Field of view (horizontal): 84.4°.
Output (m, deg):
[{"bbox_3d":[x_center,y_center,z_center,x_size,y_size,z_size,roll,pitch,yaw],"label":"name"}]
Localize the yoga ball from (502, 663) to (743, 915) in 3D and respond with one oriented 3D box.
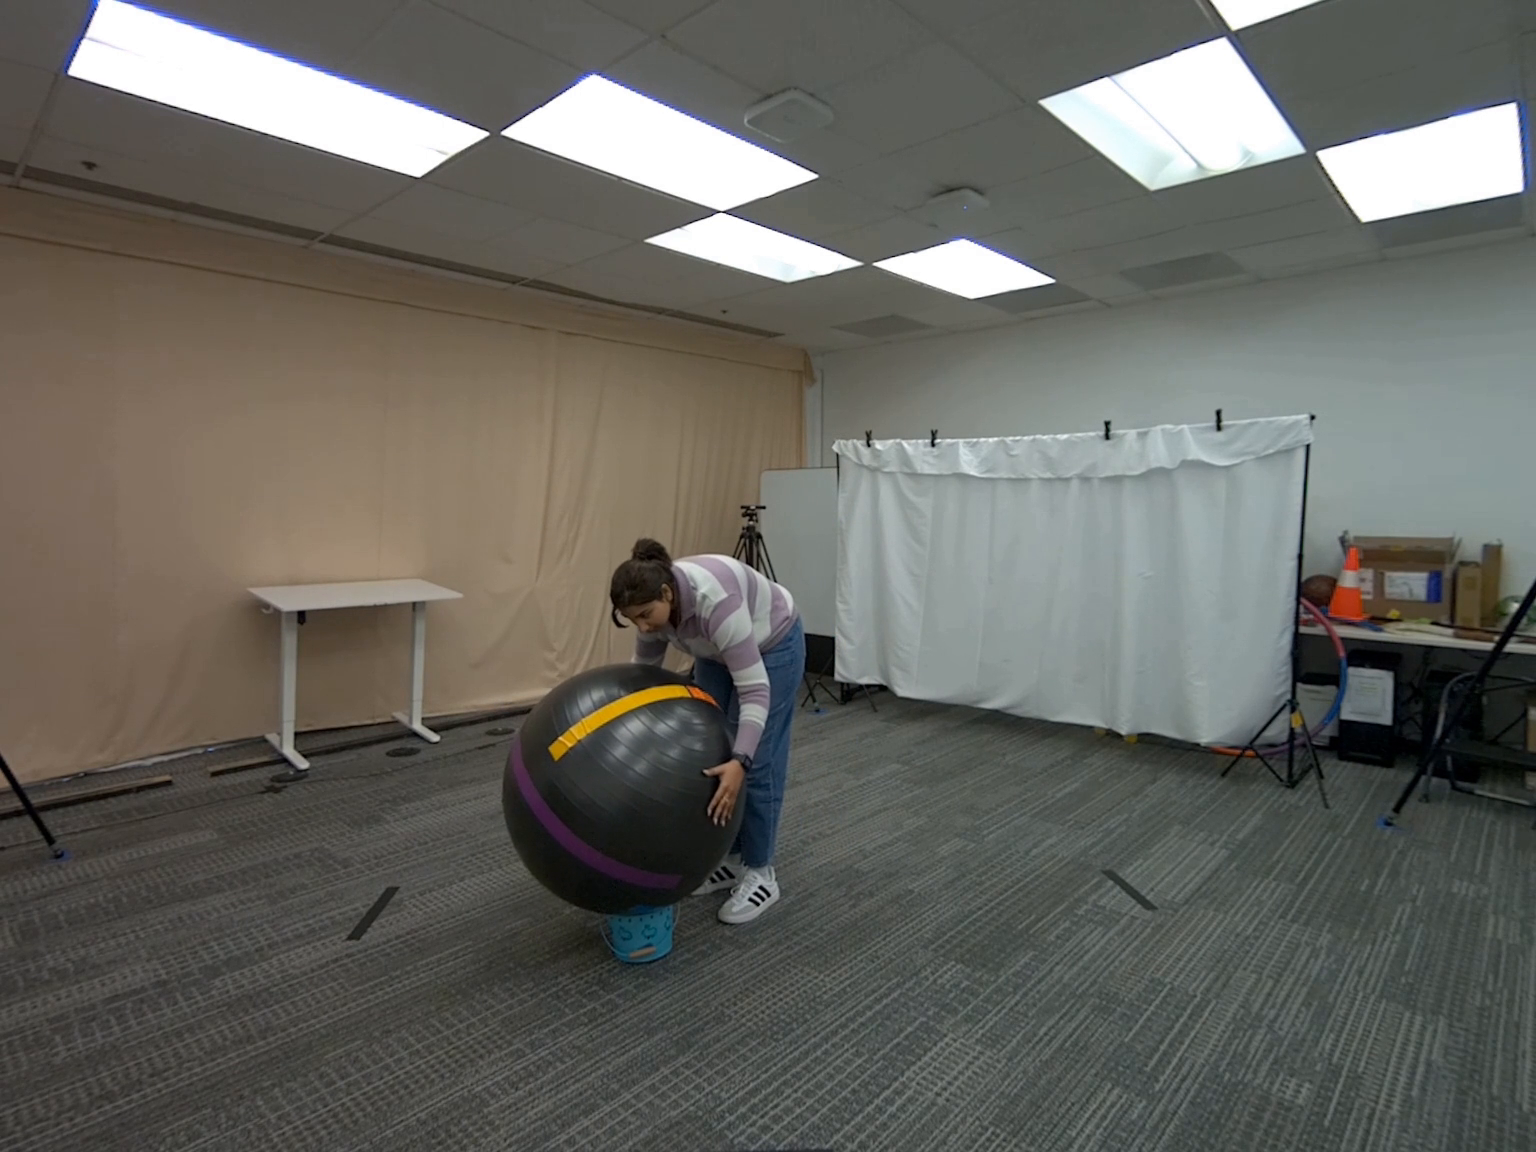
[{"bbox_3d":[-0.452,0.666,2.641,0.757,0.756,0.761,0,4,-2],"label":"yoga ball"}]
